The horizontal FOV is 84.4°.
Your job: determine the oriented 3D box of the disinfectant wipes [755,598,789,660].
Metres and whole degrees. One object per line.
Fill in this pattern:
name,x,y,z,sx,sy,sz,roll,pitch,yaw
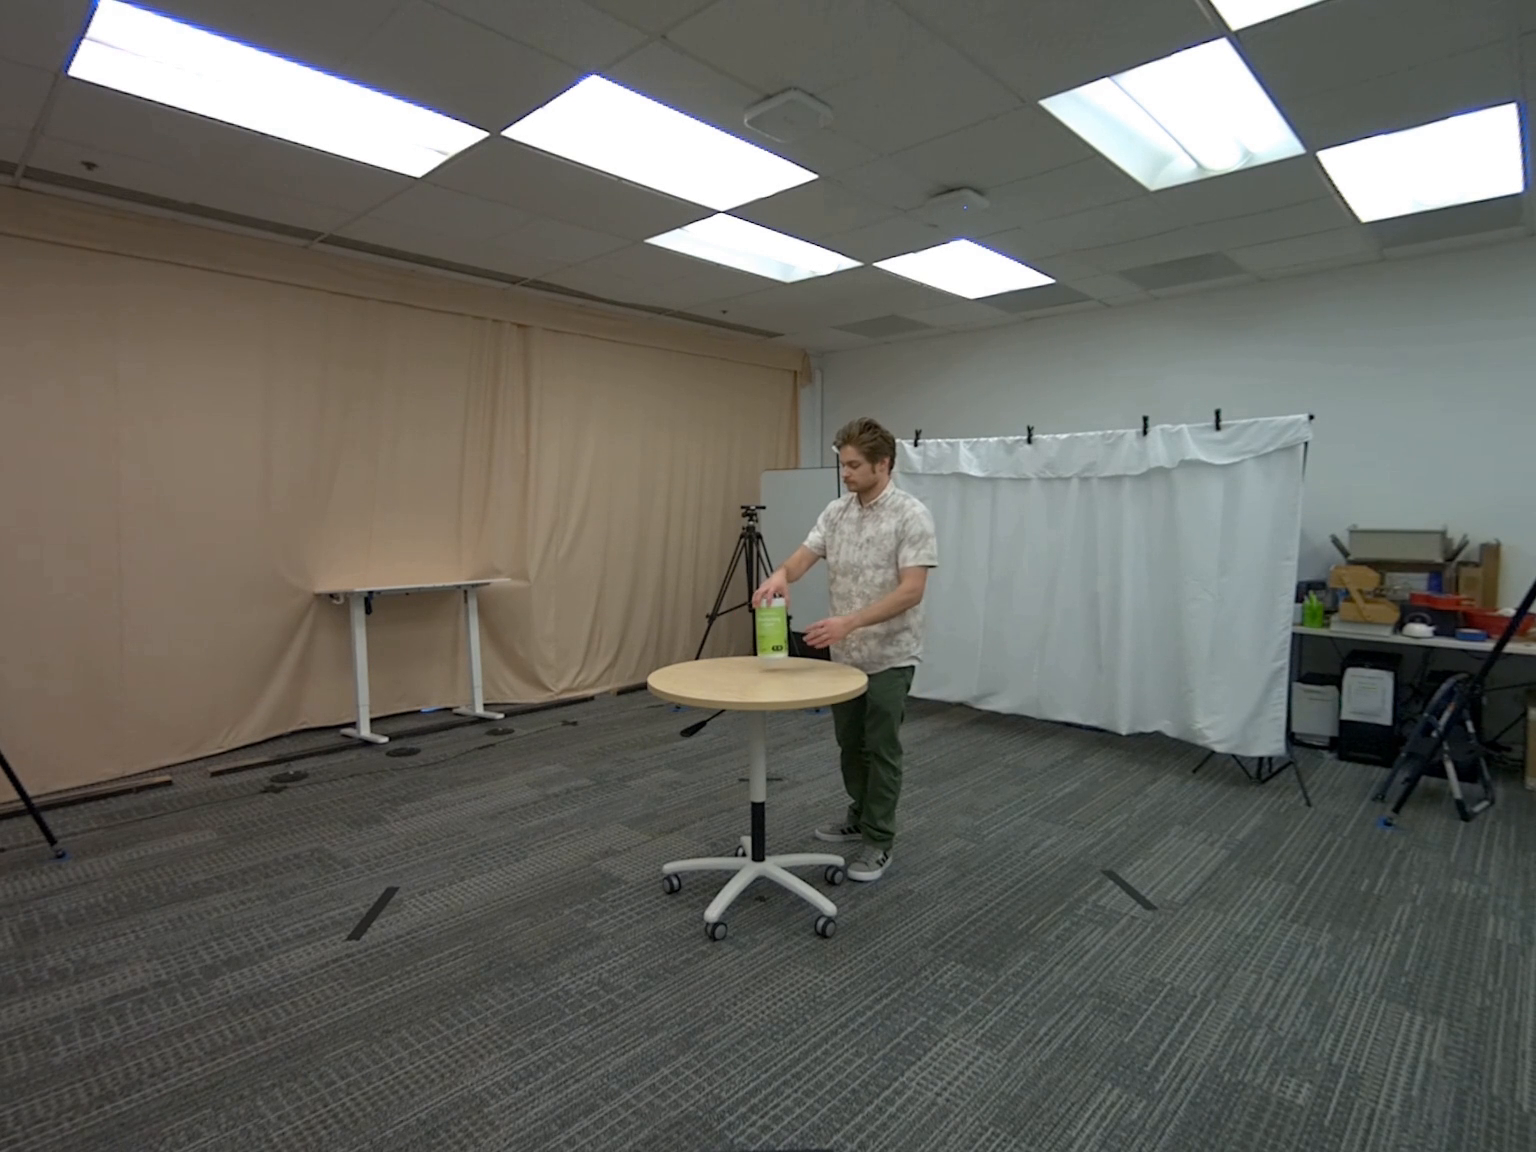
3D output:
disinfectant wipes,0.016,0.190,3.033,0.118,0.217,0.118,-2,1,-2
